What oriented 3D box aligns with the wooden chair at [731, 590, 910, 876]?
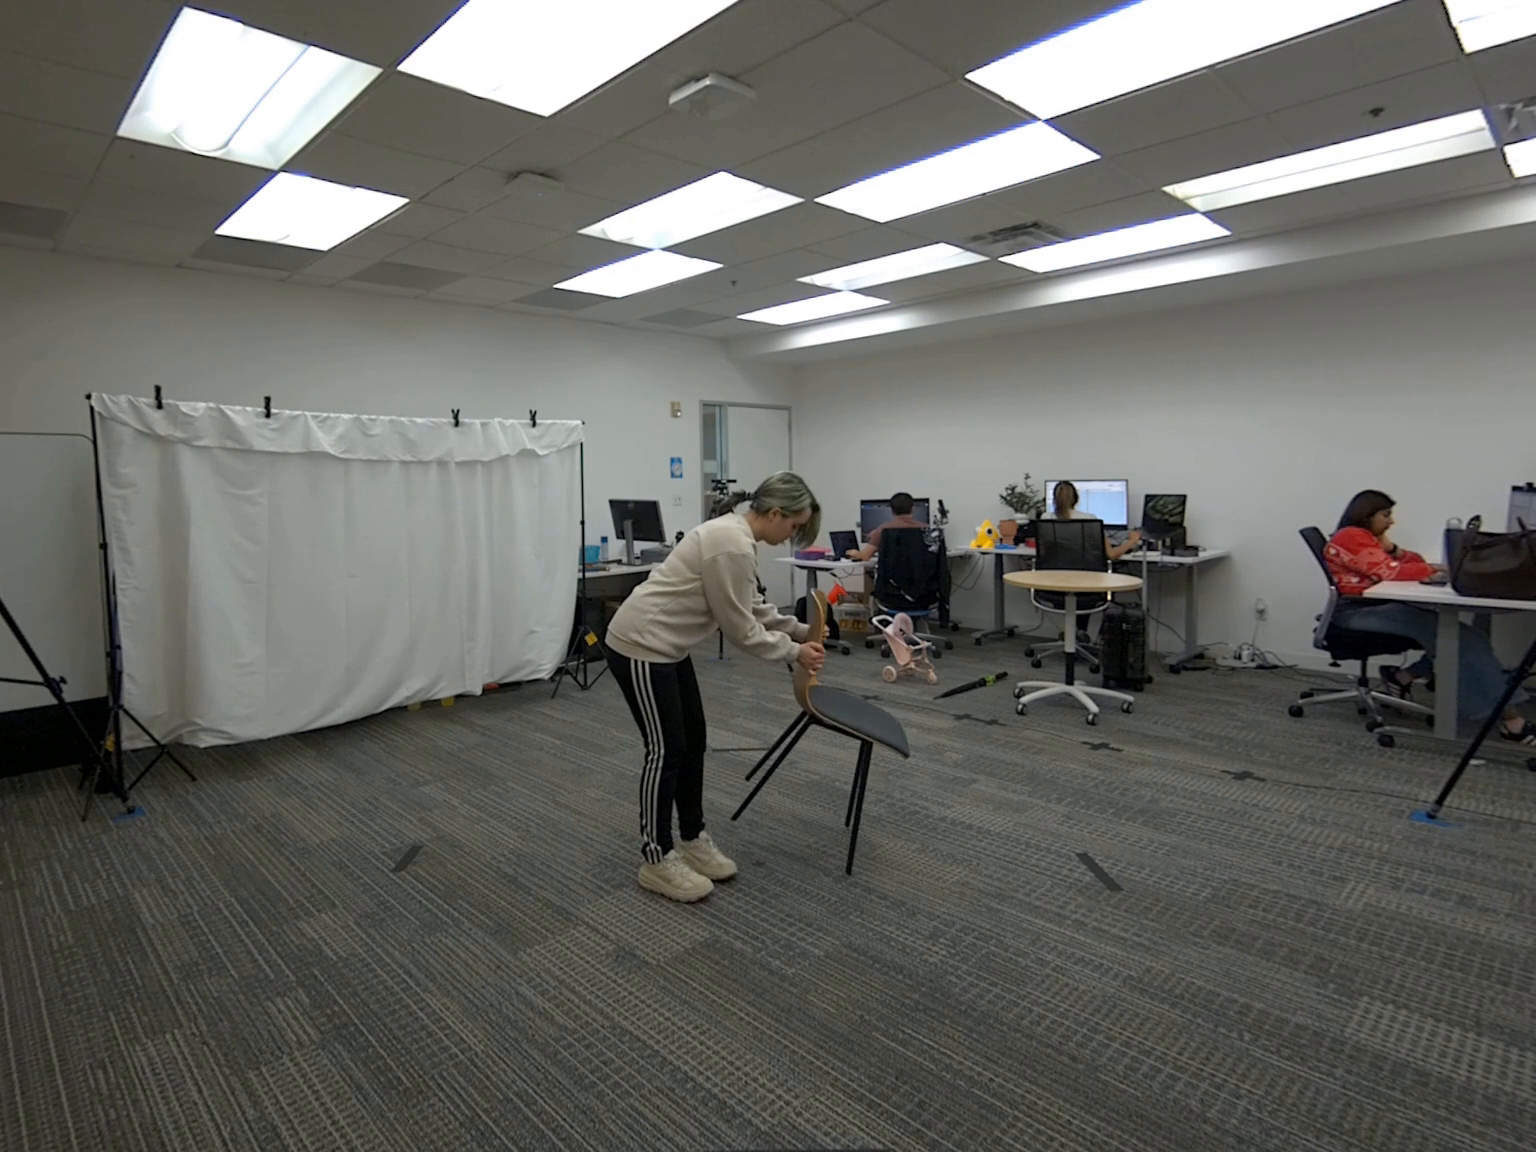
[{"bbox_3d":[0.263,0.552,3.171,0.527,0.875,0.476,19,5,5],"label":"wooden chair"}]
